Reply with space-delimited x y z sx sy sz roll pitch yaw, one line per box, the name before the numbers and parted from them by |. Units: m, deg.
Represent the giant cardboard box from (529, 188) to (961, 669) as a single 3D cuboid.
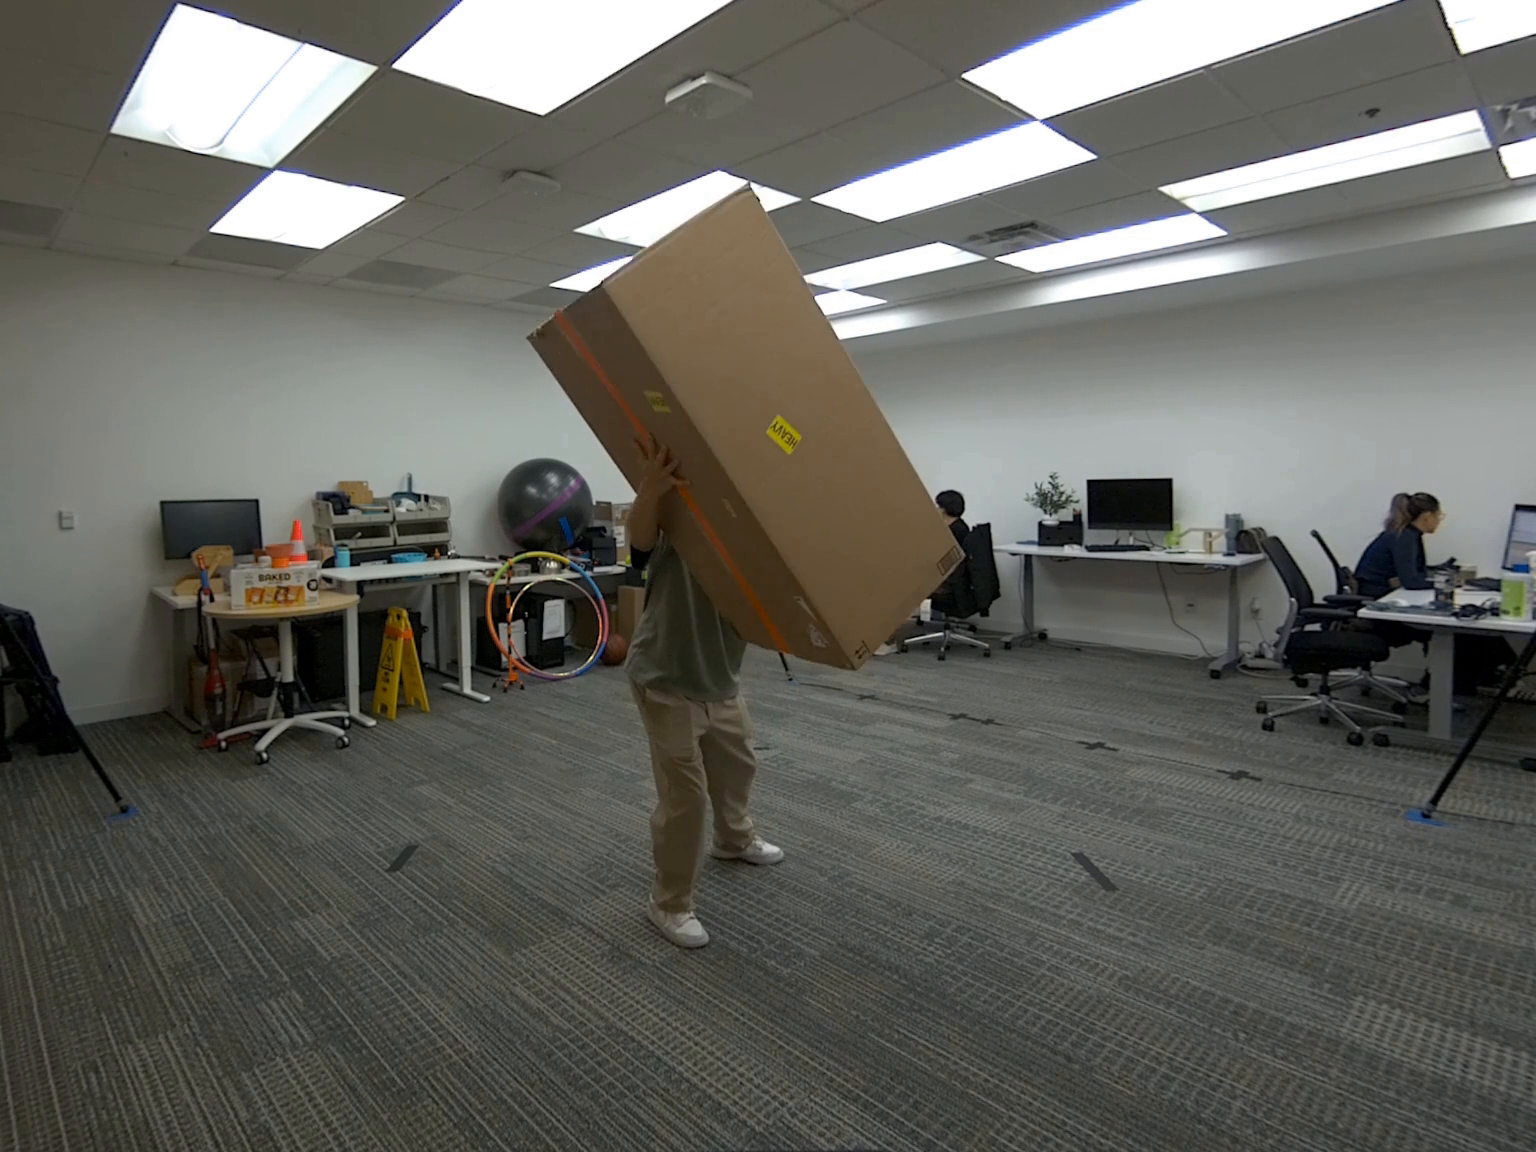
giant cardboard box | -0.055 -0.320 2.150 0.425 1.003 0.592 -41 19 -21
